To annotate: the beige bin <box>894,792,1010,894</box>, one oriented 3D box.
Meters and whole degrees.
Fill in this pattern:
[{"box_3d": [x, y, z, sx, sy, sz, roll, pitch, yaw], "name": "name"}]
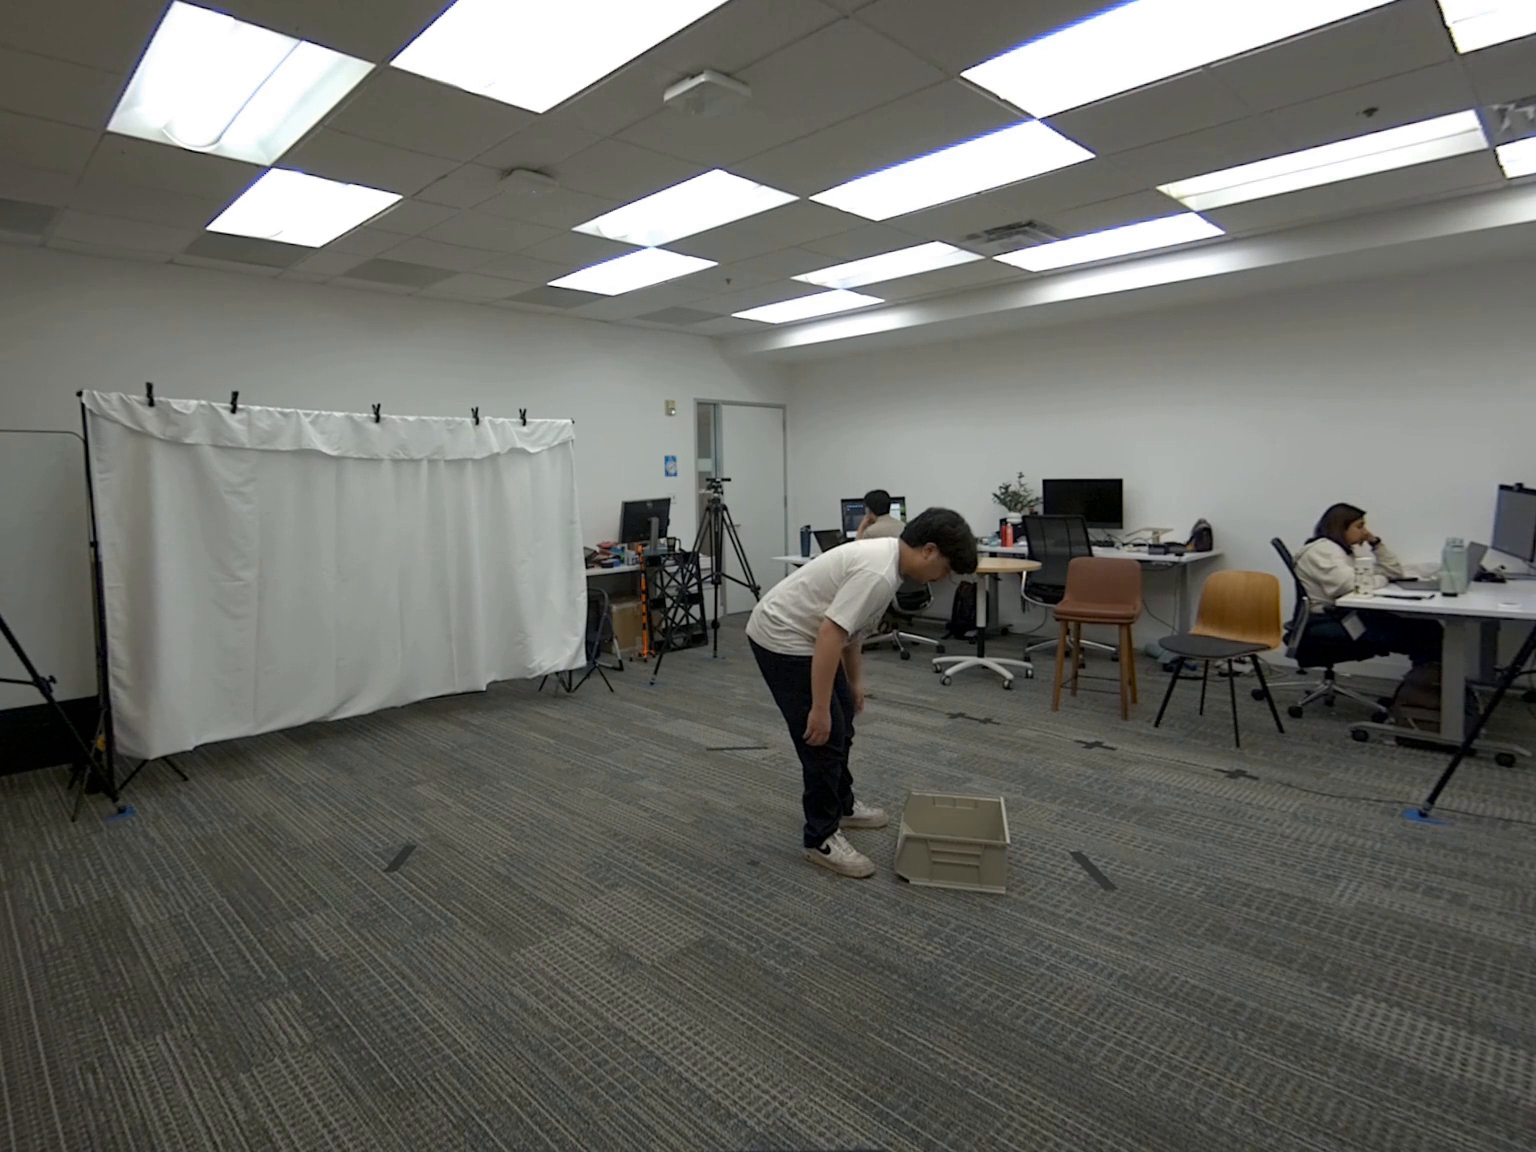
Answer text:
[{"box_3d": [0.659, 0.943, 3.076, 0.382, 0.188, 0.418, 1, 5, 13], "name": "beige bin"}]
